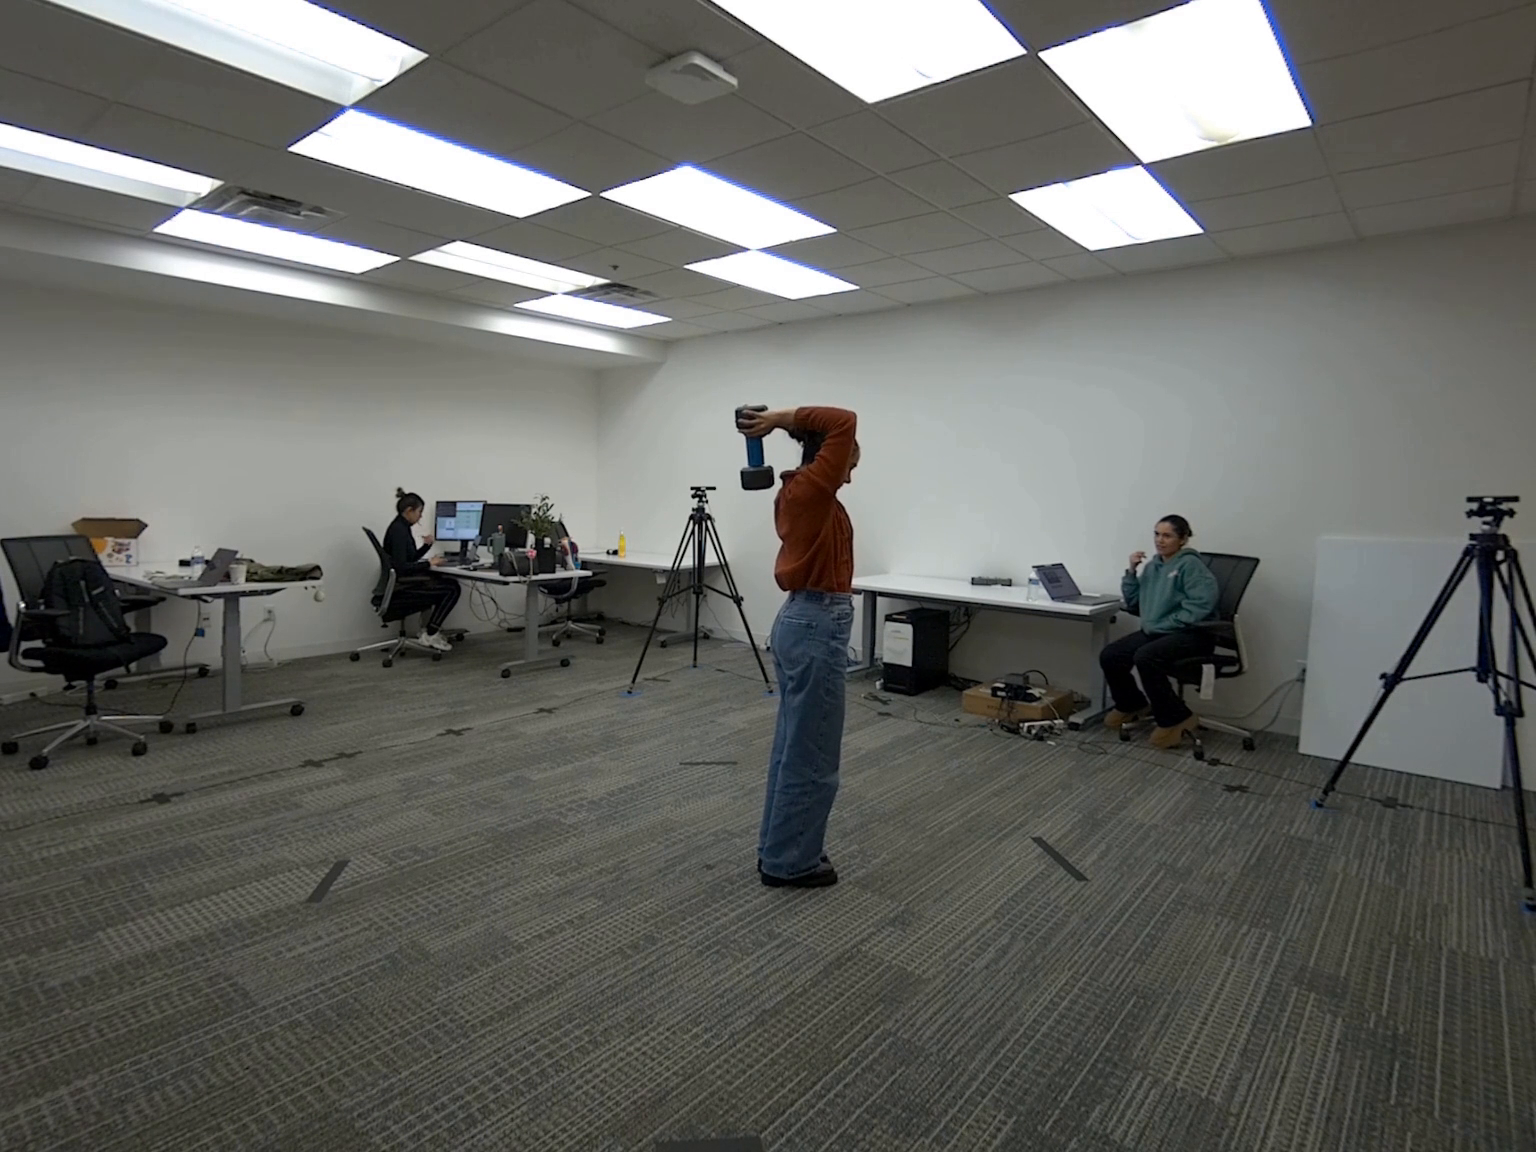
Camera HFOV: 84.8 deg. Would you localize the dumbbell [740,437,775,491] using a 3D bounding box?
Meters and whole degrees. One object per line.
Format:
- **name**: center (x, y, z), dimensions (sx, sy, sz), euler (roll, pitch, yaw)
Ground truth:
- **dumbbell**: center (-0.049, -0.455, 2.989), dimensions (0.121, 0.291, 0.111), euler (-8, 7, -18)
